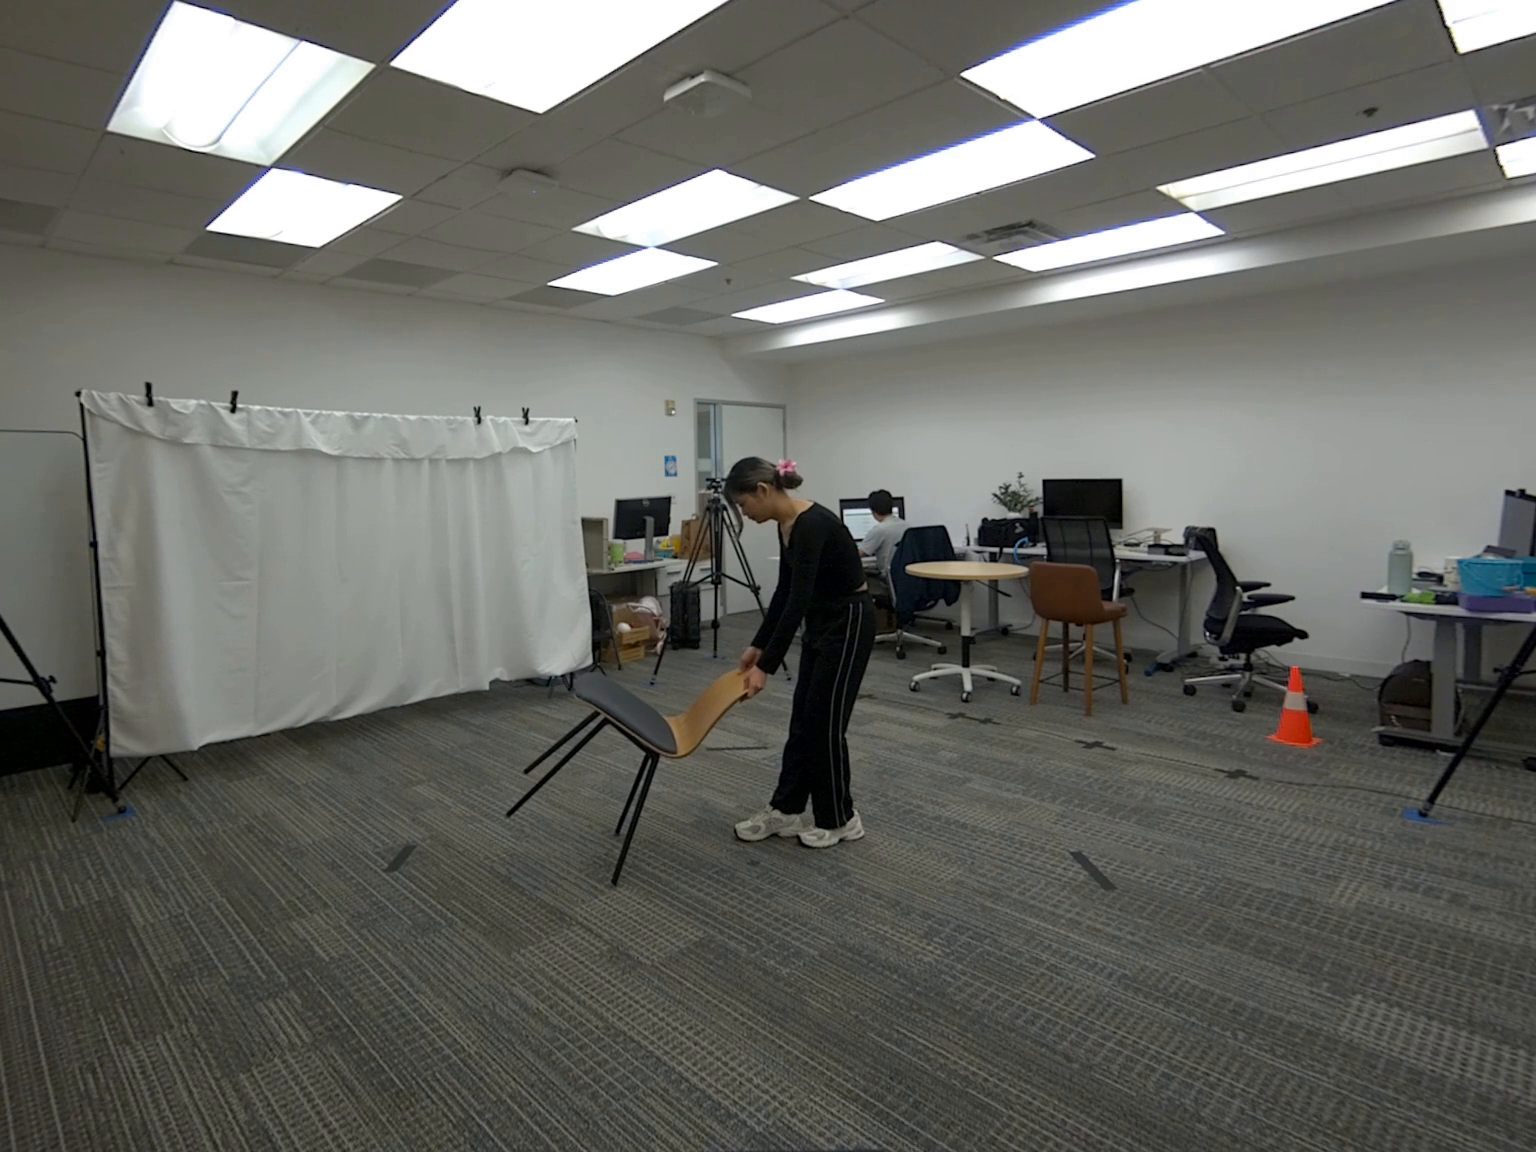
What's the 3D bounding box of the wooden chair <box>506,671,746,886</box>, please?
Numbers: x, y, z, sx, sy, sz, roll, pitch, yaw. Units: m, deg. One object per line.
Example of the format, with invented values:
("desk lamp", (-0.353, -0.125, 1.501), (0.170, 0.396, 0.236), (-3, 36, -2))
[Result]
("wooden chair", (-0.497, 0.560, 3.137), (0.518, 0.877, 0.483), (40, -1, -8))
